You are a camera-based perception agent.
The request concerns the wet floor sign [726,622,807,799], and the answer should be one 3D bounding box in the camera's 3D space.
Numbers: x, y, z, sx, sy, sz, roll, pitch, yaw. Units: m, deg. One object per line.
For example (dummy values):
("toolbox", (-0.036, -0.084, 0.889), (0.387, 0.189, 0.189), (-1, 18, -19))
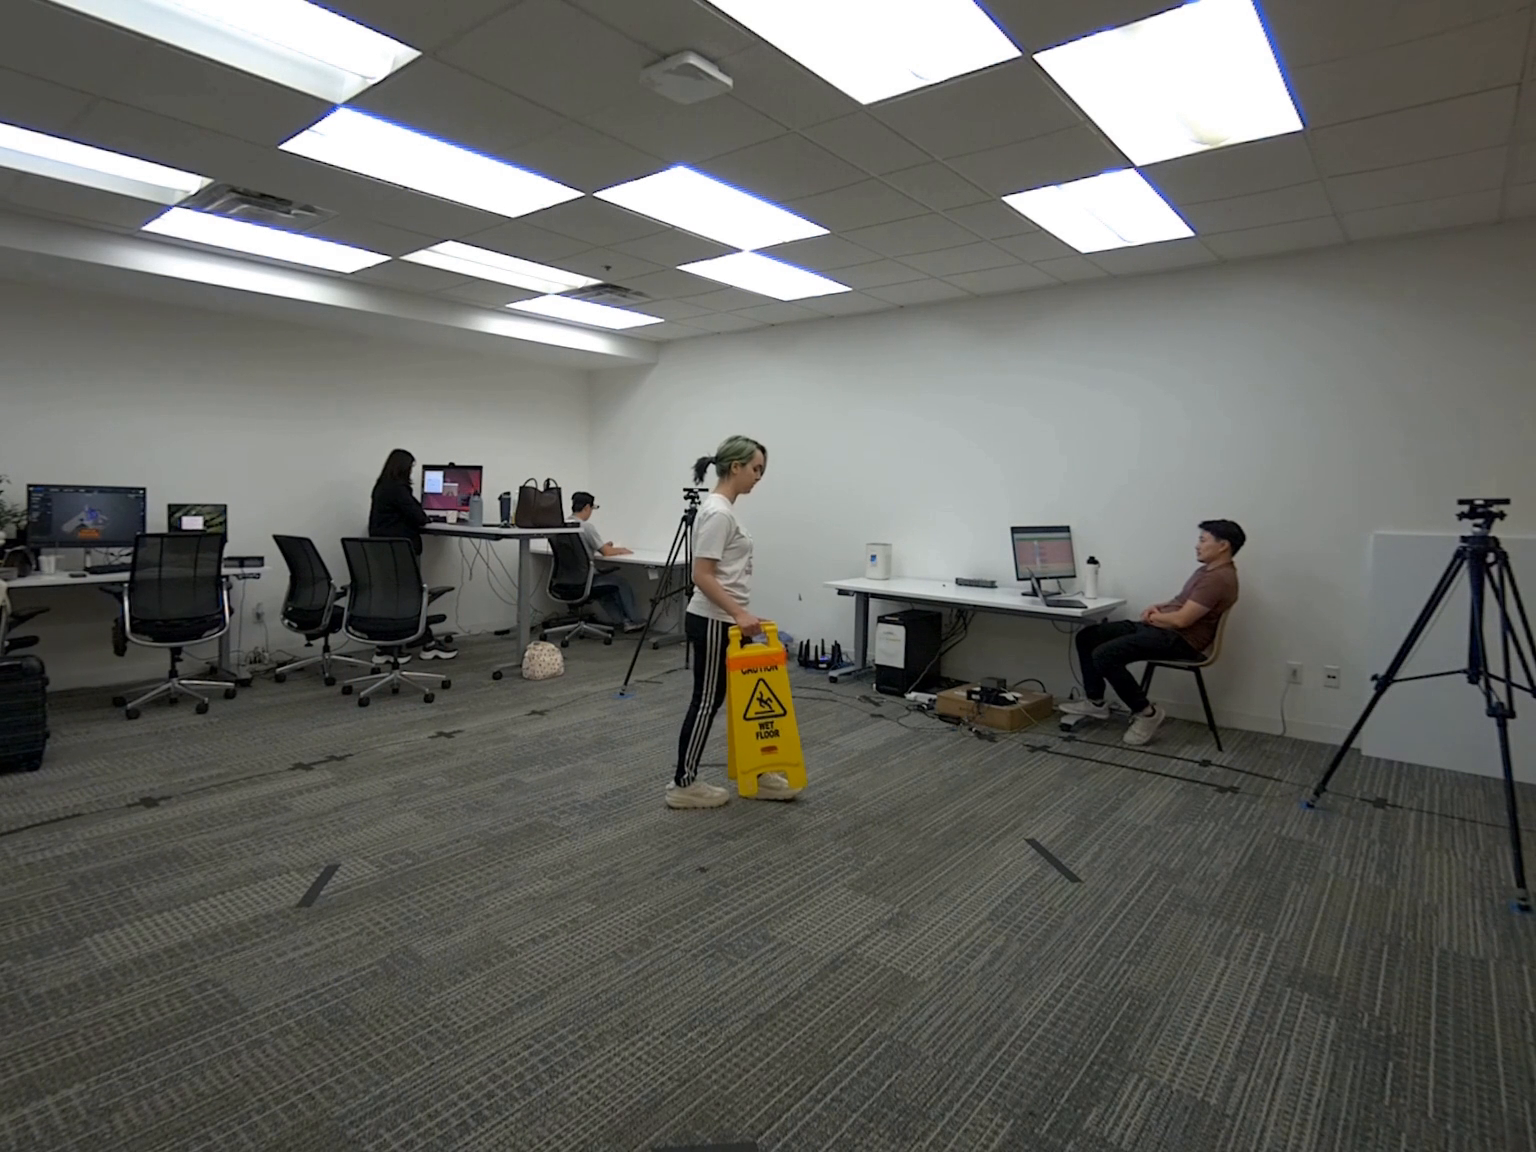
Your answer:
("wet floor sign", (-0.034, 0.519, 3.466), (0.279, 0.644, 0.294), (-7, 3, -11))
